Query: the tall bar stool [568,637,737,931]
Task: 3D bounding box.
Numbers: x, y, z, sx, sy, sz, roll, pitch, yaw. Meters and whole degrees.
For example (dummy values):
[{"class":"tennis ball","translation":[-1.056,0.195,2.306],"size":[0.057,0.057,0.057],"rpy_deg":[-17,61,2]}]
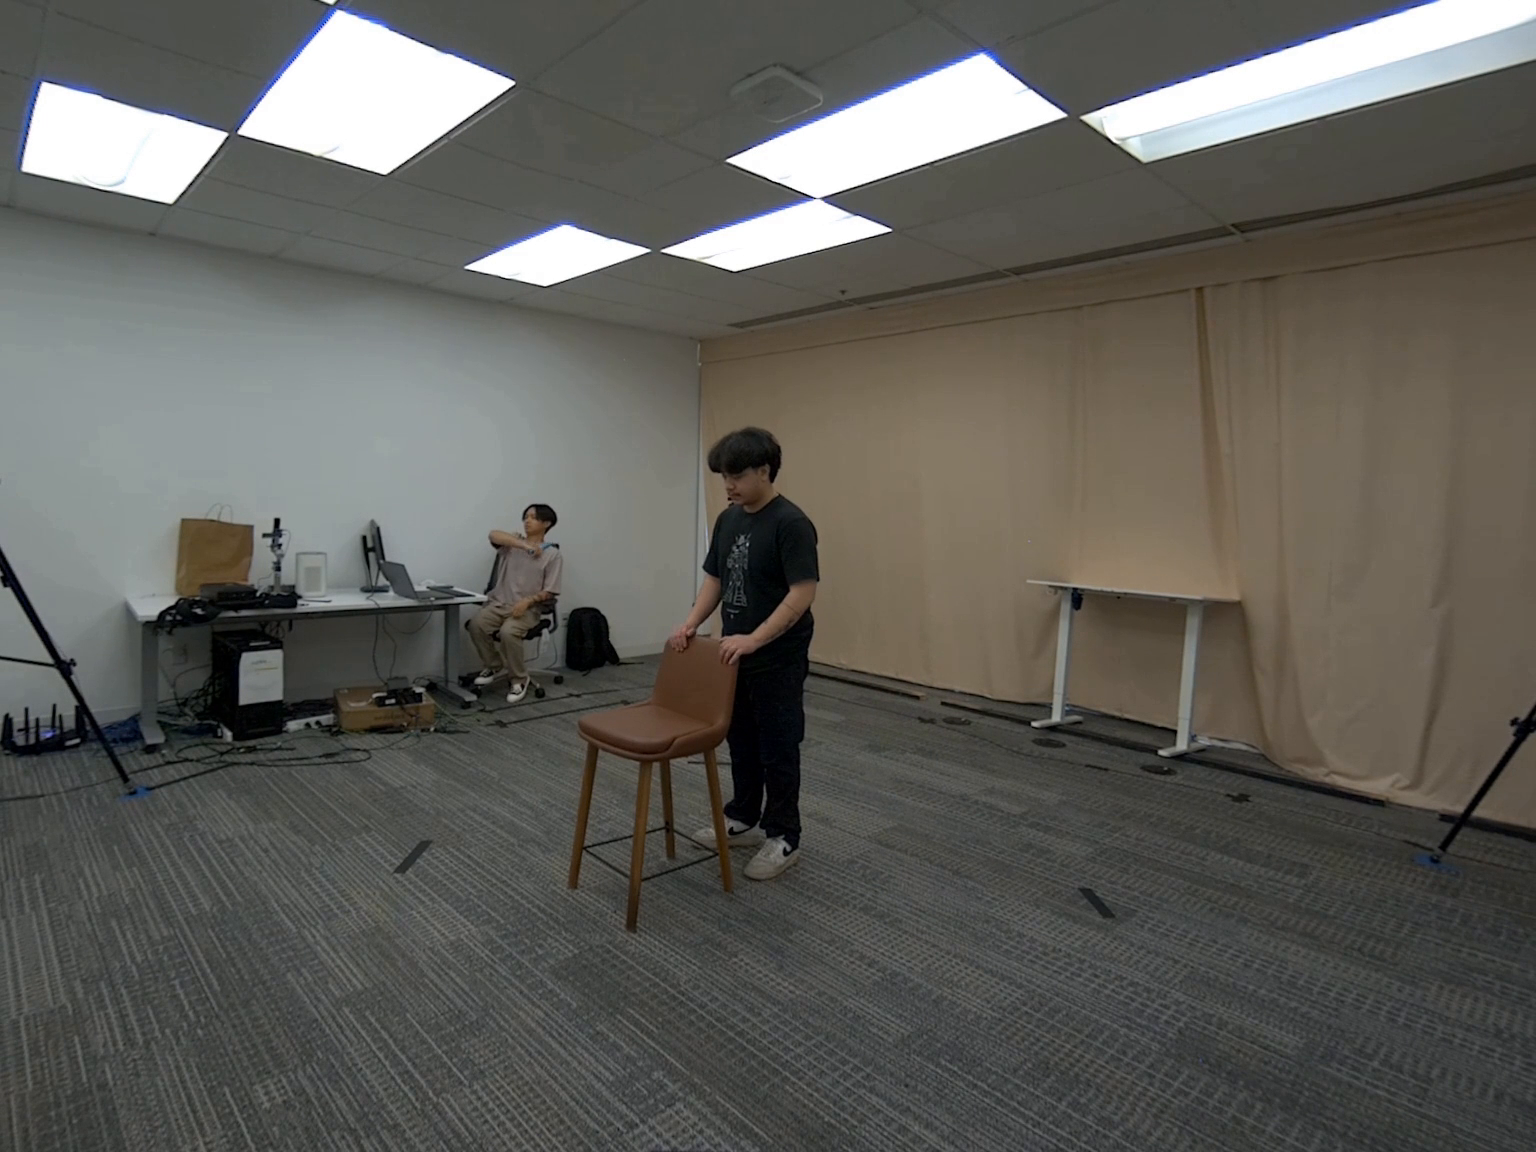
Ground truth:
[{"class":"tall bar stool","translation":[-0.394,0.677,2.960],"size":[0.456,0.888,0.468],"rpy_deg":[1,3,-41]}]
